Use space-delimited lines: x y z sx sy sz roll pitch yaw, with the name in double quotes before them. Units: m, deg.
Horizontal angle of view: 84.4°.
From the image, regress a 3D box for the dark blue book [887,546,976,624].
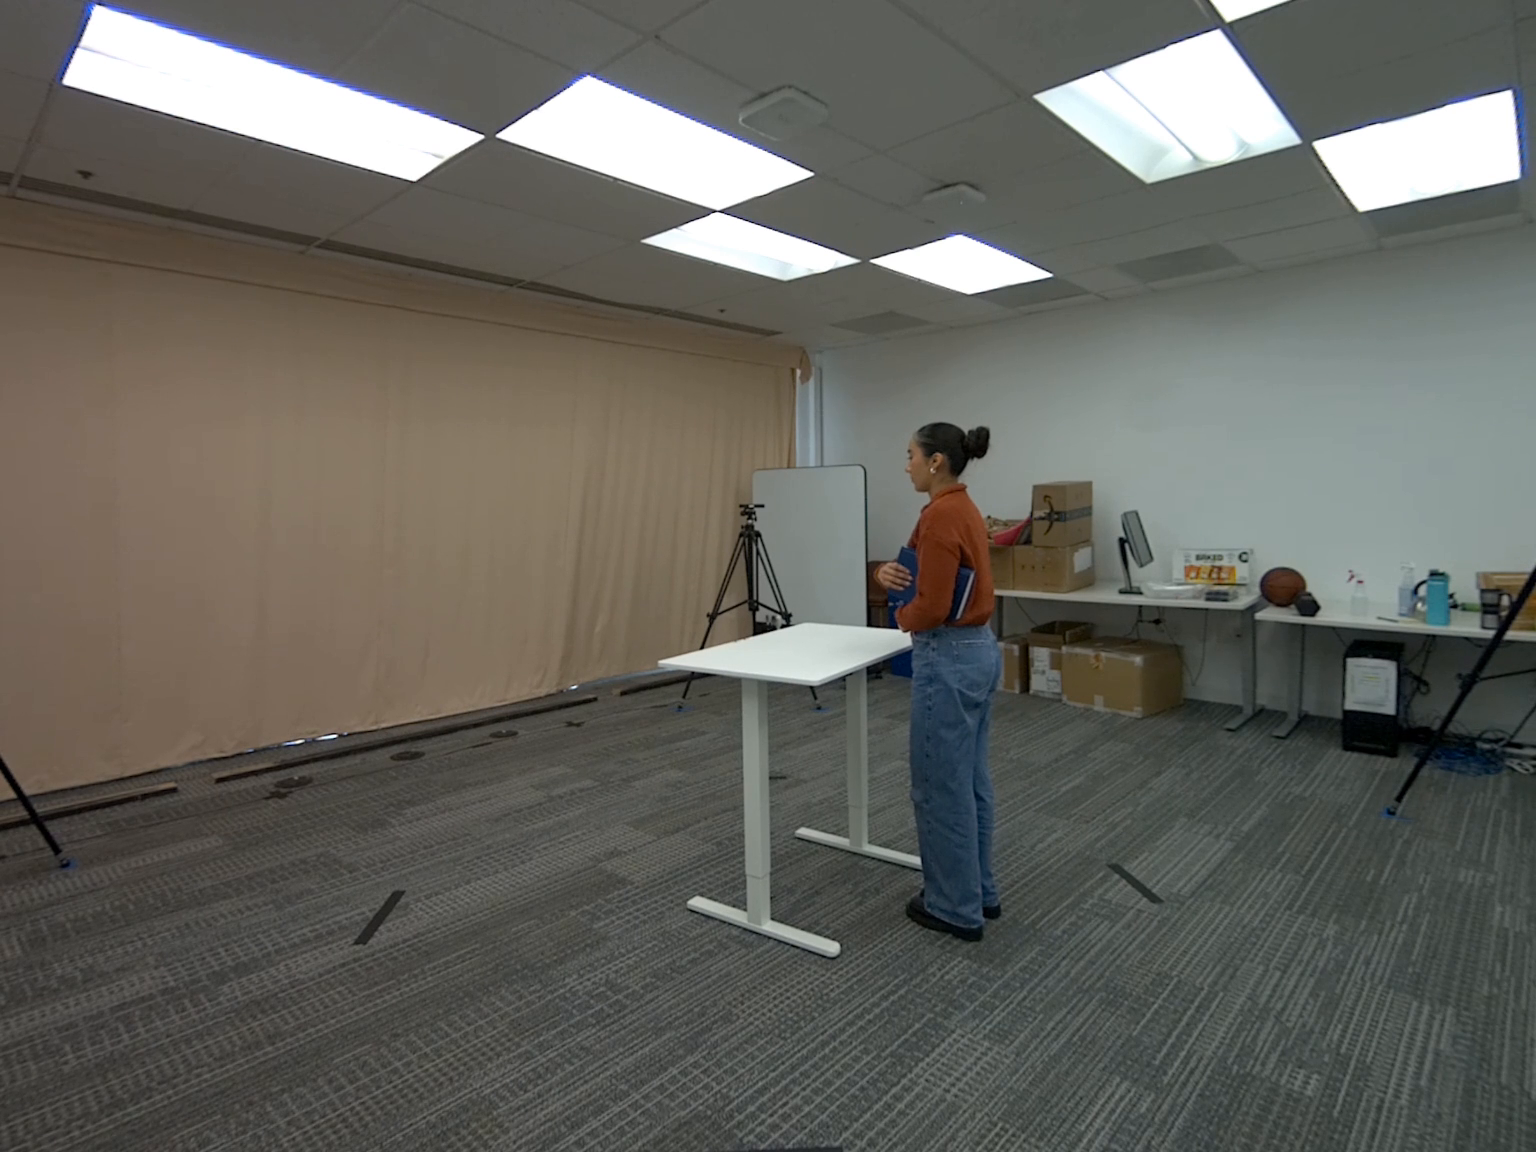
"dark blue book" 0.521 0.022 2.671 0.254 0.163 0.044 23 15 36
